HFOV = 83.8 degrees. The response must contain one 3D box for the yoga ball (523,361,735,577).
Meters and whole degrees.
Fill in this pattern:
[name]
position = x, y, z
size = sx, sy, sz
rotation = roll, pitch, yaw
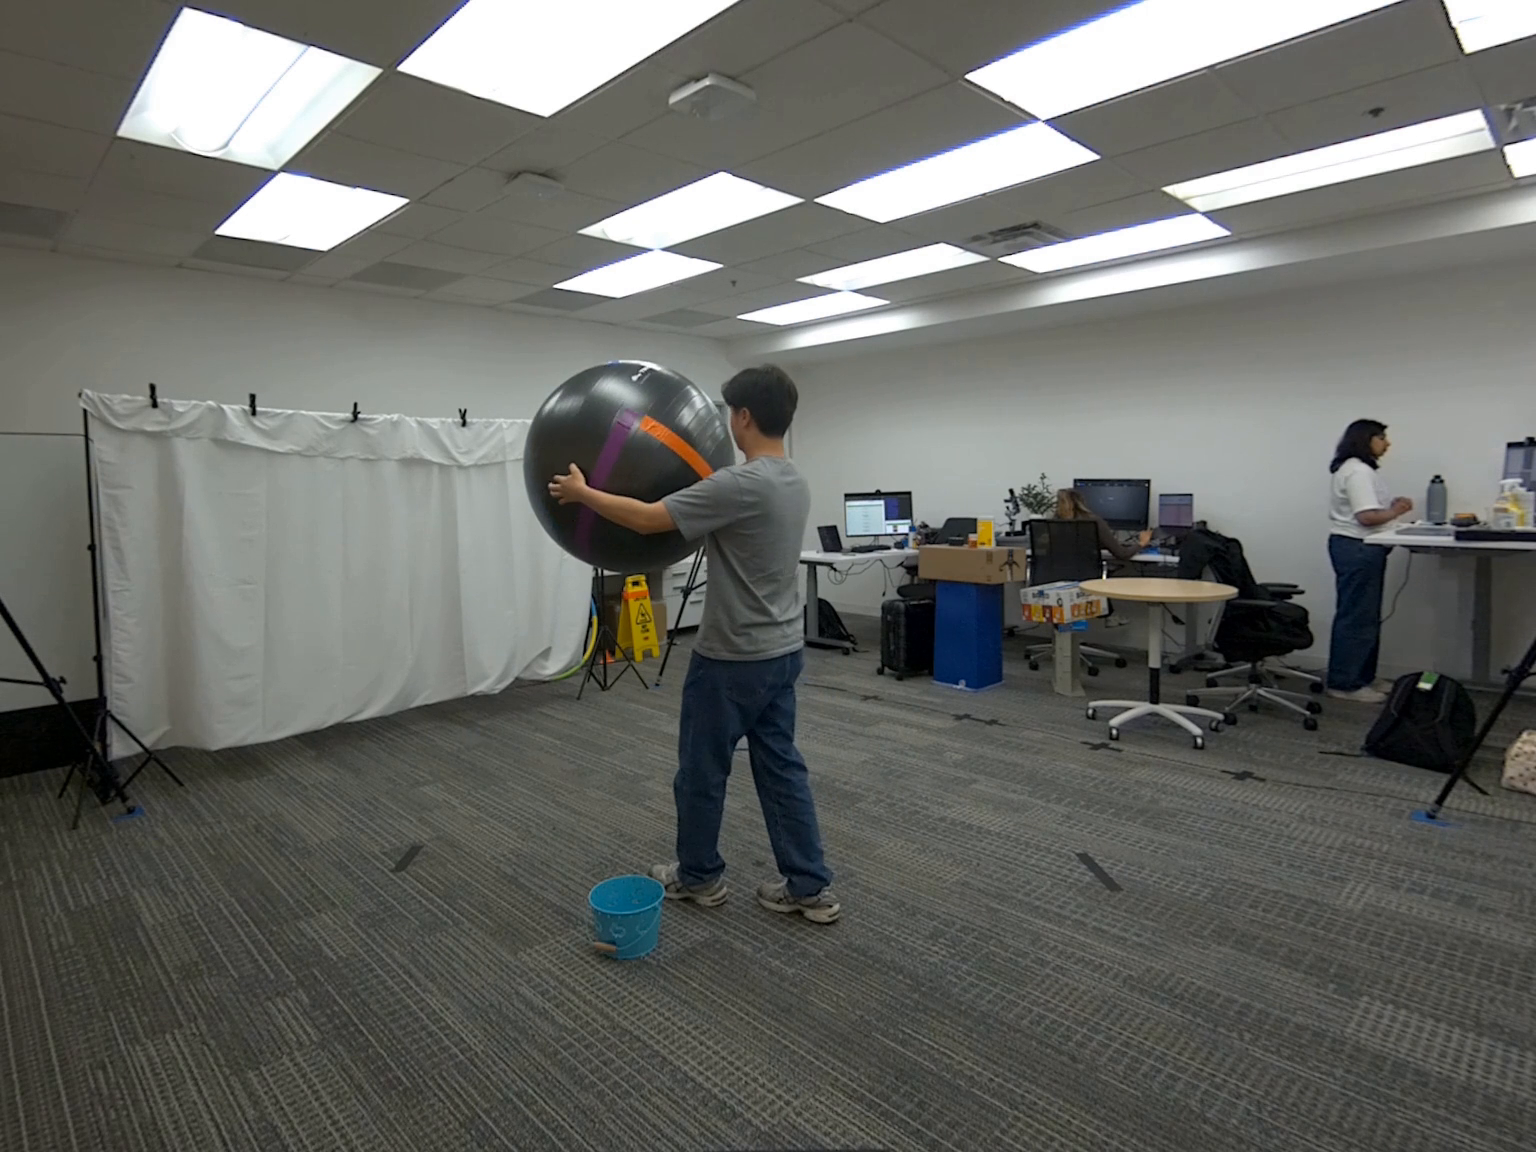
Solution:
[yoga ball]
position = -0.499, -0.384, 3.074
size = 0.757, 0.755, 0.762
rotation = -1, 5, -2
